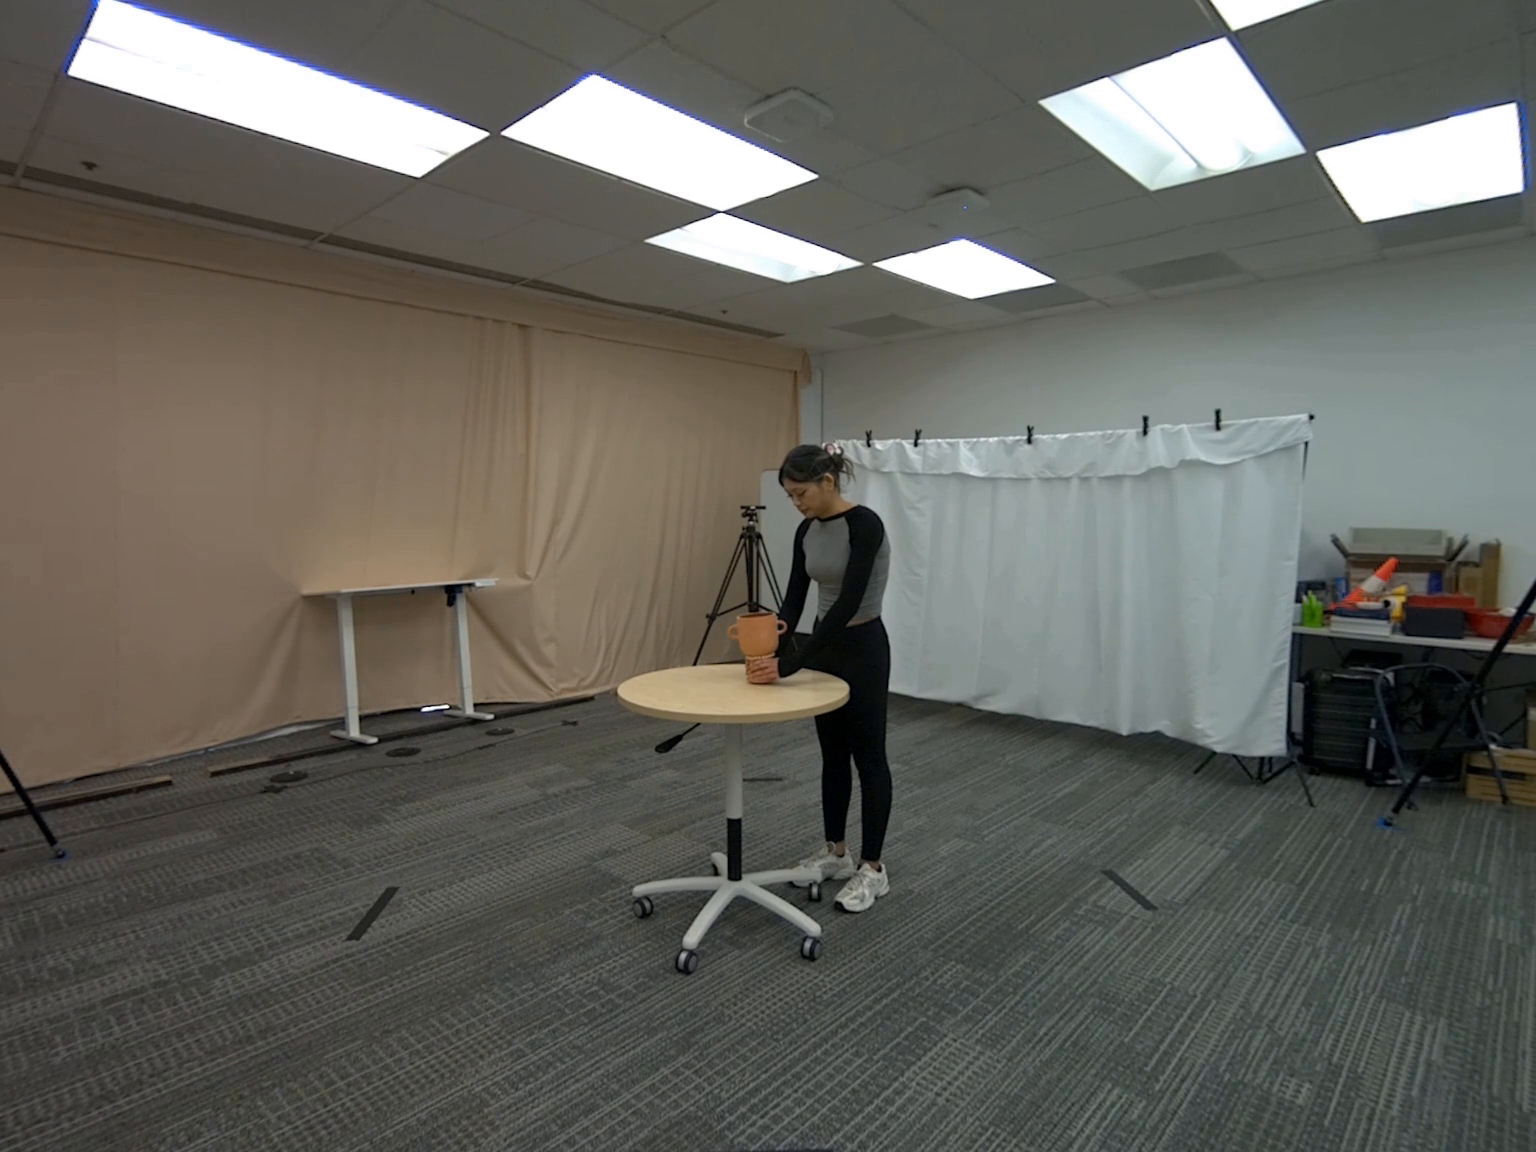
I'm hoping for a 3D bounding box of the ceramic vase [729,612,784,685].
[{"bbox_3d":[-0.025,0.241,2.838,0.164,0.219,0.131,0,7,37],"label":"ceramic vase"}]
